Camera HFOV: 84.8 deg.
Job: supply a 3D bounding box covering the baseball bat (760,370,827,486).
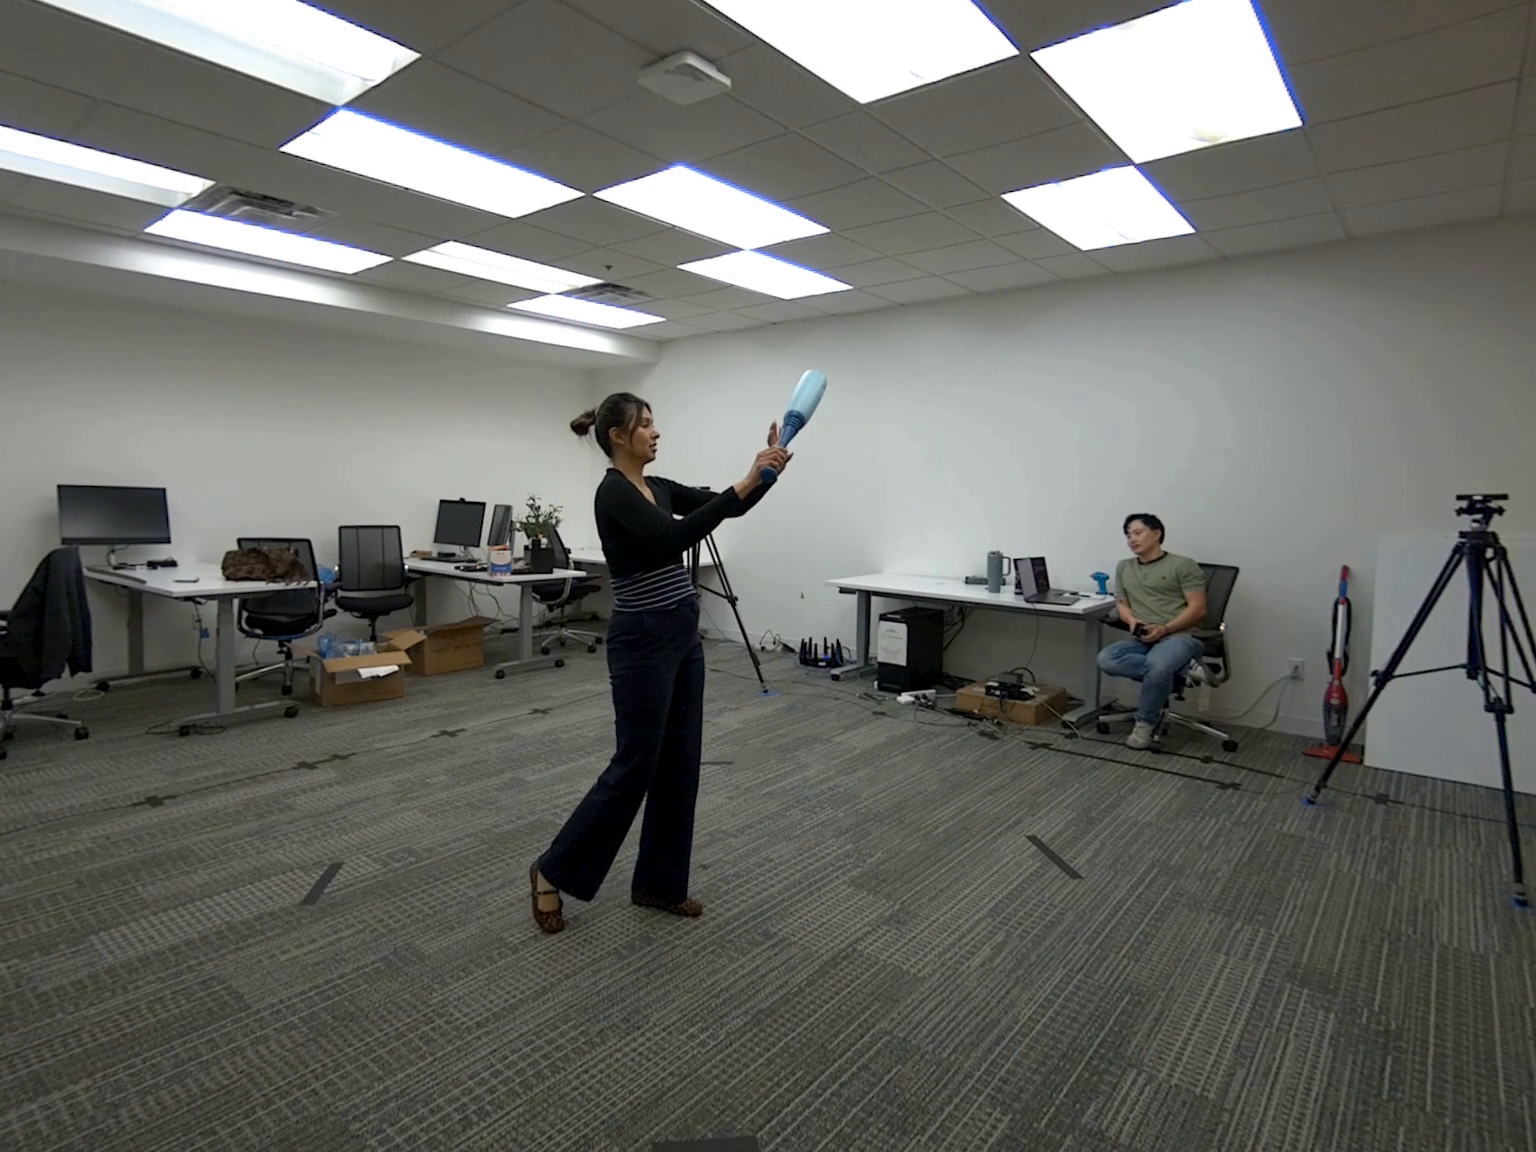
[{"bbox_3d":[0.078,-0.456,2.554,0.091,0.086,0.550,1,41,19],"label":"baseball bat"}]
